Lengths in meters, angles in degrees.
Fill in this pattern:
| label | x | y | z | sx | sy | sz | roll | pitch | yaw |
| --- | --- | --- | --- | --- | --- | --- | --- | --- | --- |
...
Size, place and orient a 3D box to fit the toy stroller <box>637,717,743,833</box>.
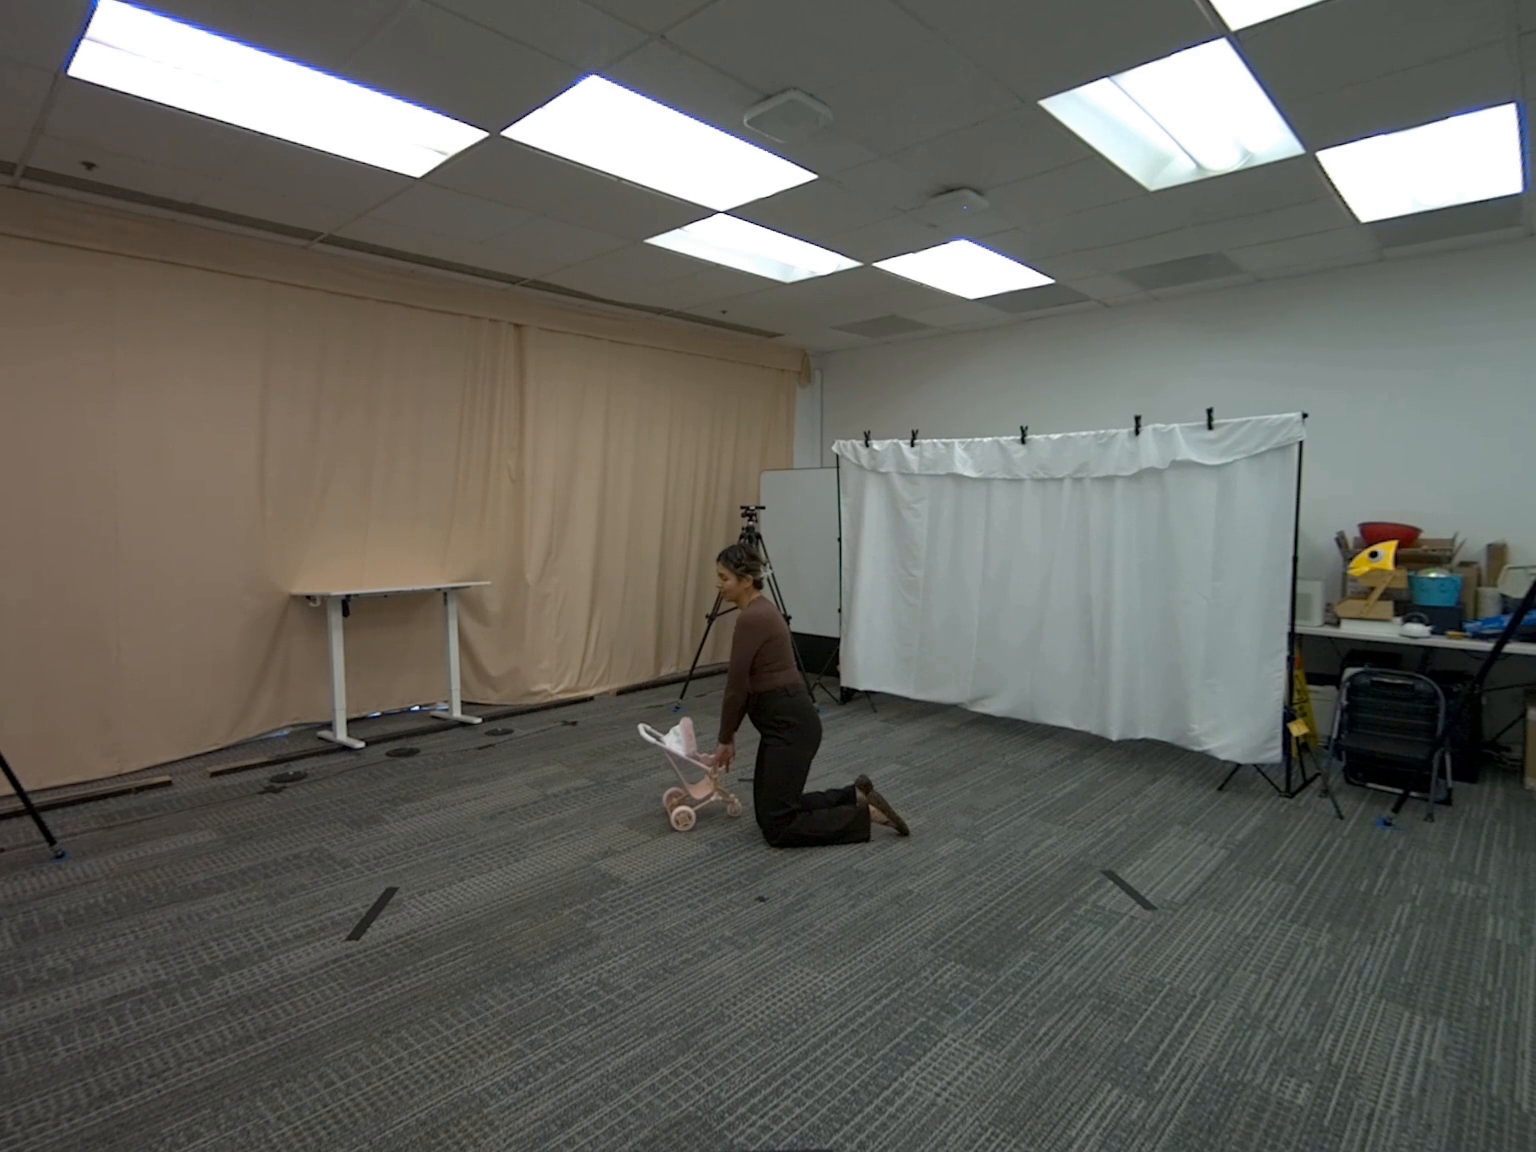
| label | x | y | z | sx | sy | sz | roll | pitch | yaw |
| --- | --- | --- | --- | --- | --- | --- | --- | --- | --- |
| toy stroller | -0.334 | 0.867 | 3.743 | 0.339 | 0.532 | 0.284 | -18 | 6 | -7 |
